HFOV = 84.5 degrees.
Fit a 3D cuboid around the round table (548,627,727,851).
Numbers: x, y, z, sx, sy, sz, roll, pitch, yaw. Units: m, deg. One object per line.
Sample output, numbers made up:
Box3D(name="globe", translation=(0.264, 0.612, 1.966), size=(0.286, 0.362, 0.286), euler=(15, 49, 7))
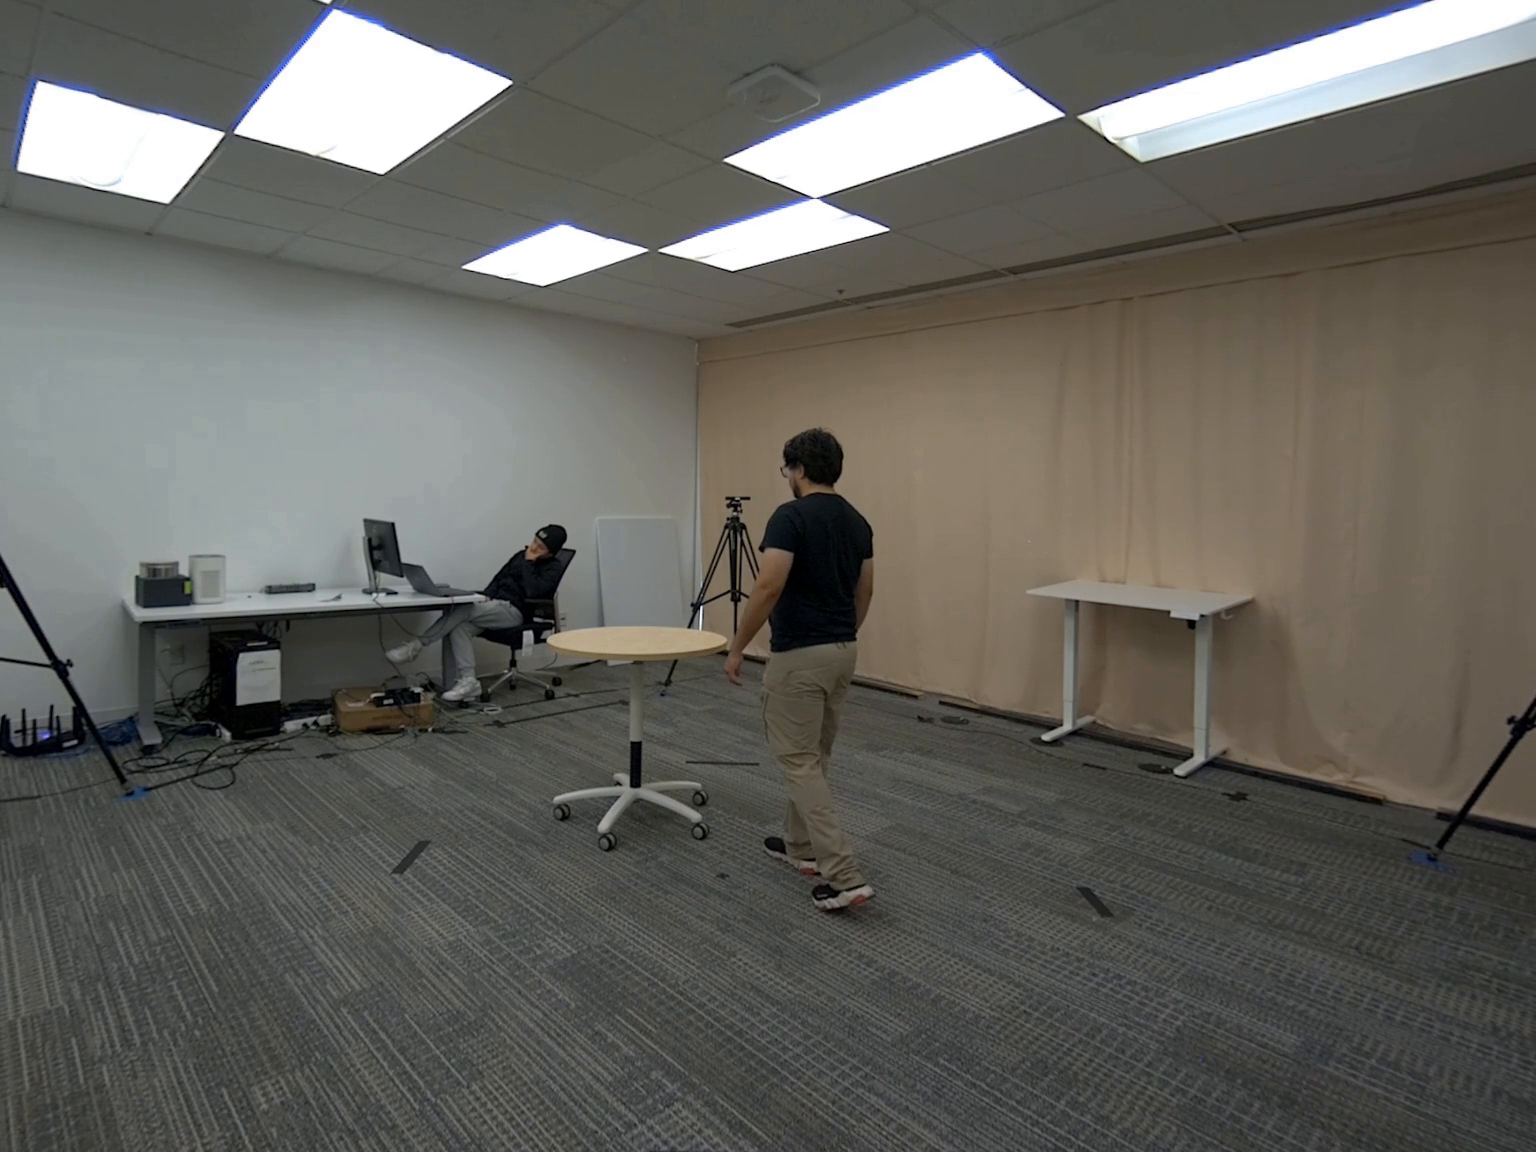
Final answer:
Box3D(name="round table", translation=(-0.575, 0.658, 3.609), size=(0.784, 0.785, 0.787), euler=(2, 3, -1))
